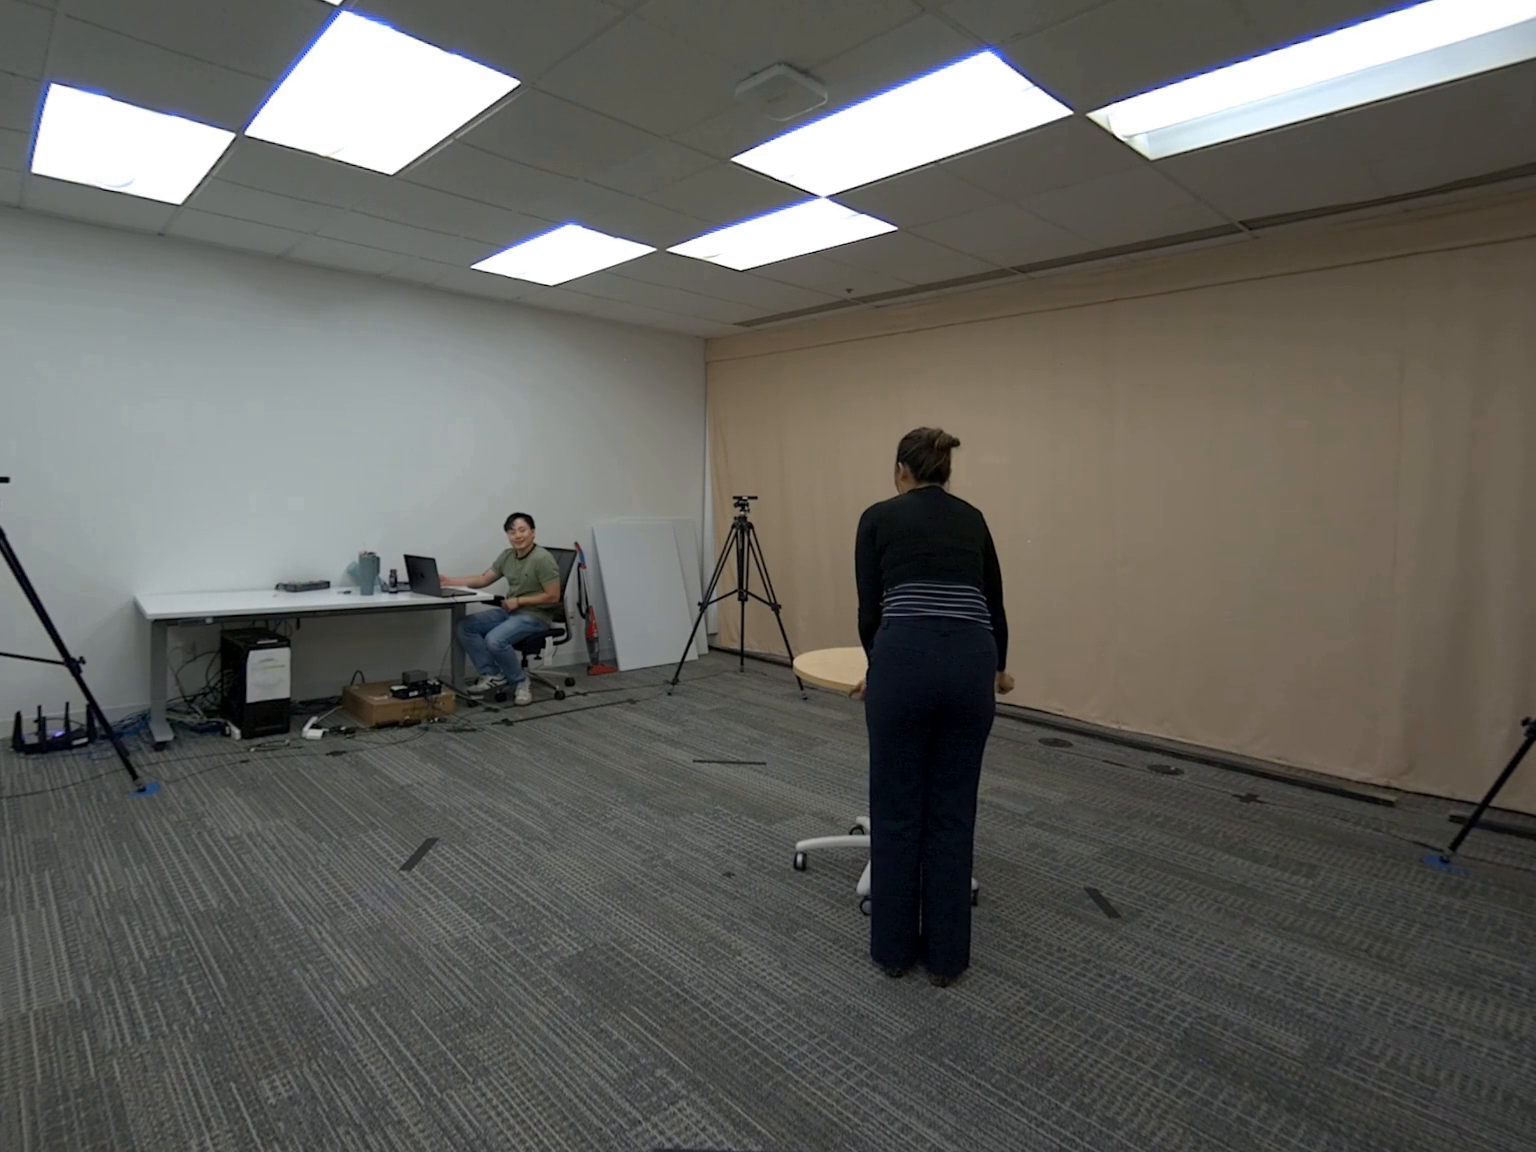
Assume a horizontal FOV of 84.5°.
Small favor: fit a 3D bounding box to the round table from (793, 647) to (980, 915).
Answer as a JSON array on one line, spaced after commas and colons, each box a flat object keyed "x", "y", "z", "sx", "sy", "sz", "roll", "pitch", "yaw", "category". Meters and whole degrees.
[{"x": 0.461, "y": 0.728, "z": 3.122, "sx": 0.763, "sy": 0.792, "sz": 0.767, "roll": 2, "pitch": 4, "yaw": -2, "category": "round table"}]
